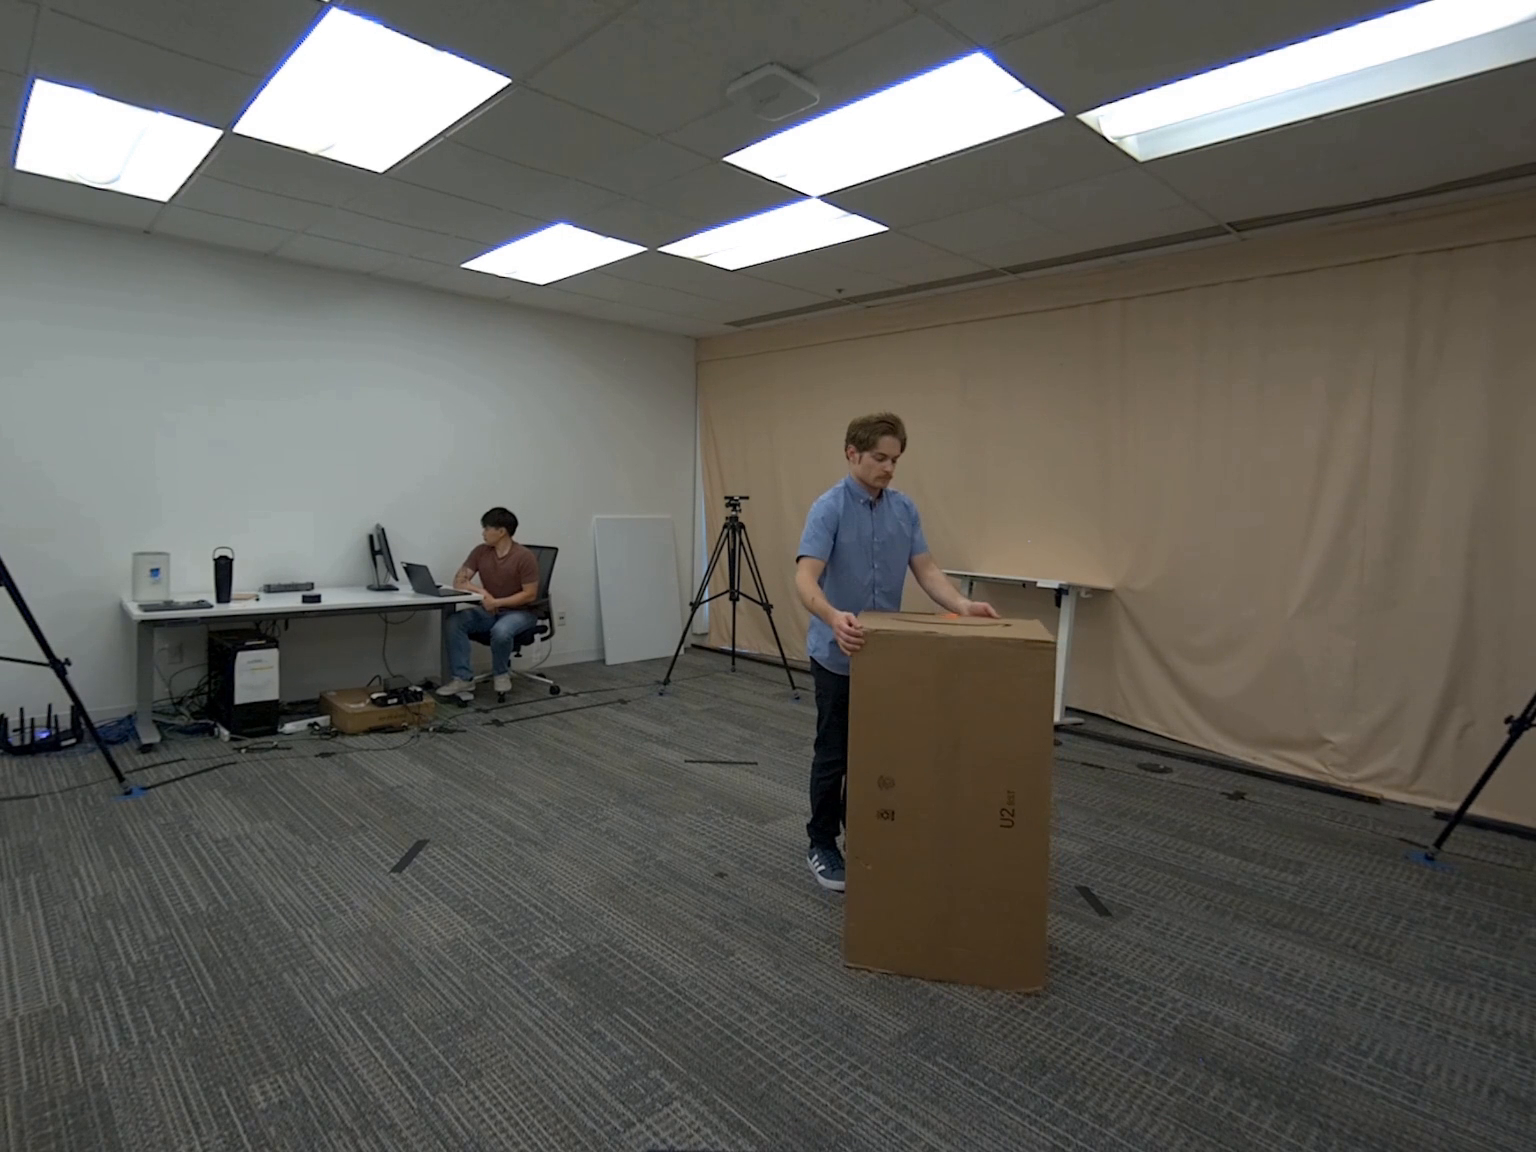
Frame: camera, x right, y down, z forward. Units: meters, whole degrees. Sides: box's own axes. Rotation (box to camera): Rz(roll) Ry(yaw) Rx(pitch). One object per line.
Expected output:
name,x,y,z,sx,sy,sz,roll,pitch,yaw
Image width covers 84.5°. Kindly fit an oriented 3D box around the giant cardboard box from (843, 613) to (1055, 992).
giant cardboard box,0.550,0.659,2.622,0.584,1.023,0.422,2,4,14
